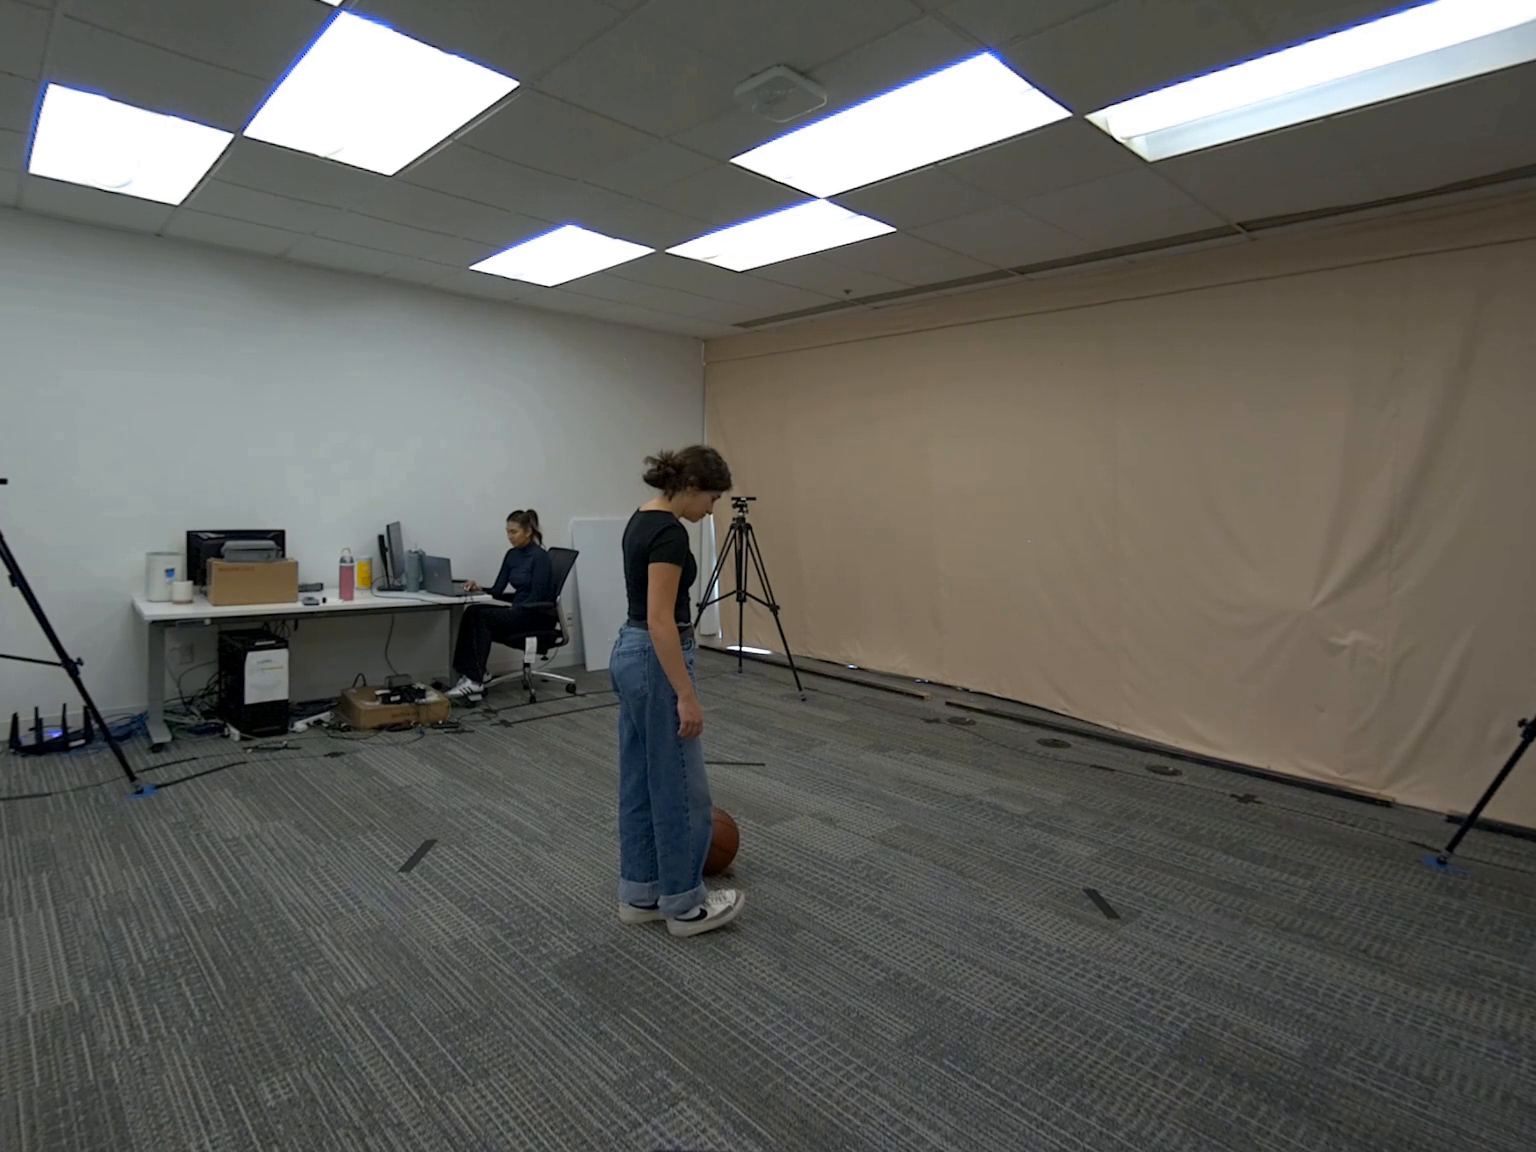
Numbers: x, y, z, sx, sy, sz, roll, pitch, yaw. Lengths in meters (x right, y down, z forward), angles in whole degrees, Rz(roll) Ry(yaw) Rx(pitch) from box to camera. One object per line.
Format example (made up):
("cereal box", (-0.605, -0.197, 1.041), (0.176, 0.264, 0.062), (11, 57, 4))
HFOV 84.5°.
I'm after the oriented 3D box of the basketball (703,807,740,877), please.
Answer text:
("basketball", (-0.230, 0.980, 3.132), (0.236, 0.235, 0.237), (1, 4, -1))
